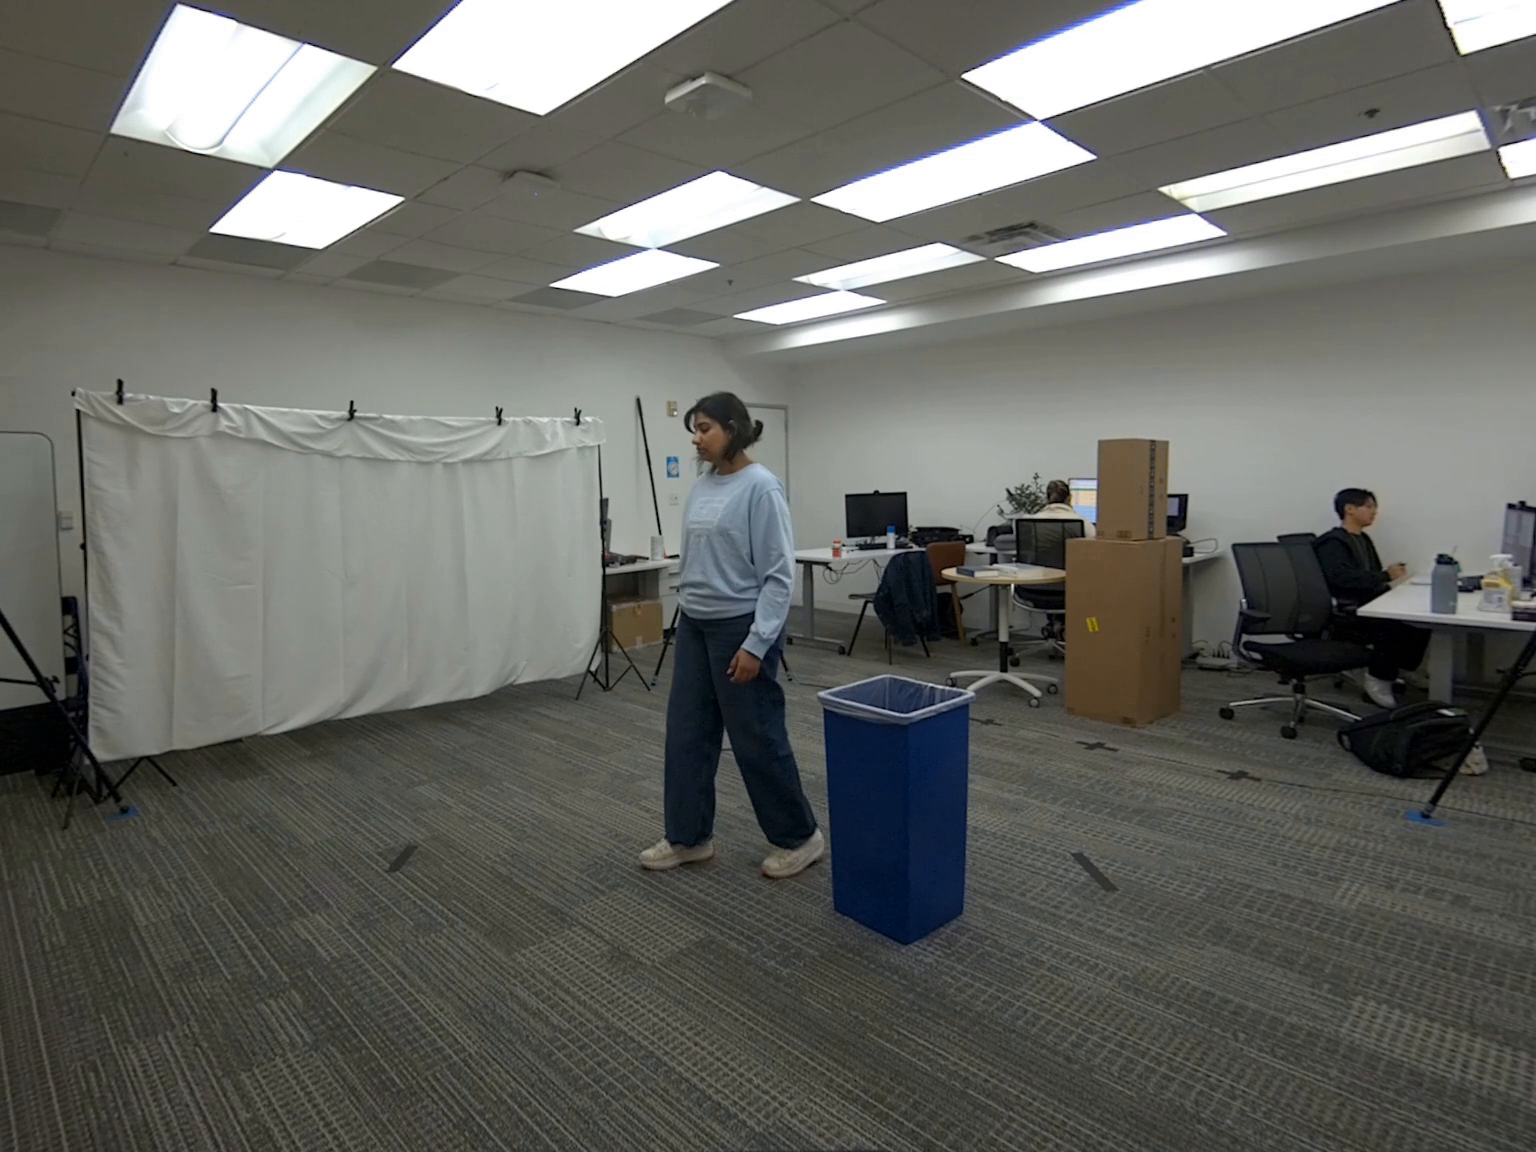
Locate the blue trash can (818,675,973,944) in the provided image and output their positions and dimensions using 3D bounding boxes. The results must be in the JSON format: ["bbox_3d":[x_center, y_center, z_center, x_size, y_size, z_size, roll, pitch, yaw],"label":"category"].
[{"bbox_3d":[0.412,0.725,2.714,0.364,0.711,0.389,-5,5,-42],"label":"blue trash can"}]
